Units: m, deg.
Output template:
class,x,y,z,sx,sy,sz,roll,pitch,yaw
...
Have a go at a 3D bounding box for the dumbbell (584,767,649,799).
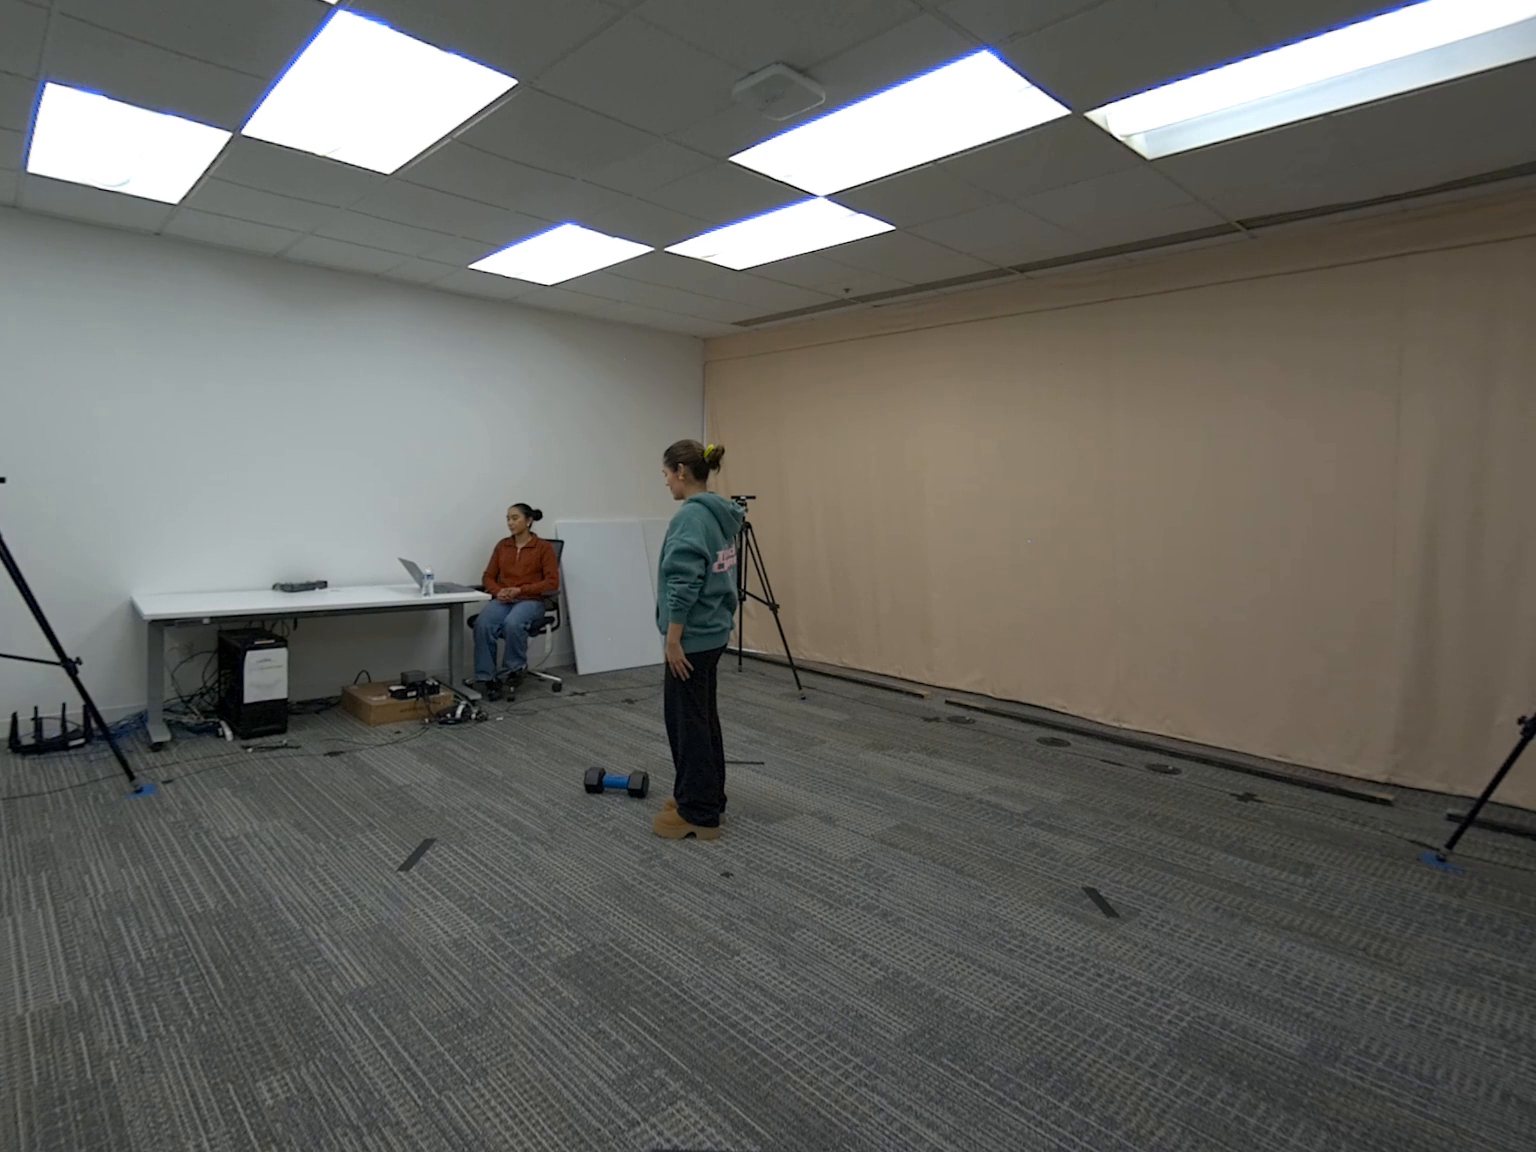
class,x,y,z,sx,sy,sz,roll,pitch,yaw
dumbbell,-0.718,0.963,3.930,0.296,0.125,0.106,2,-24,11
